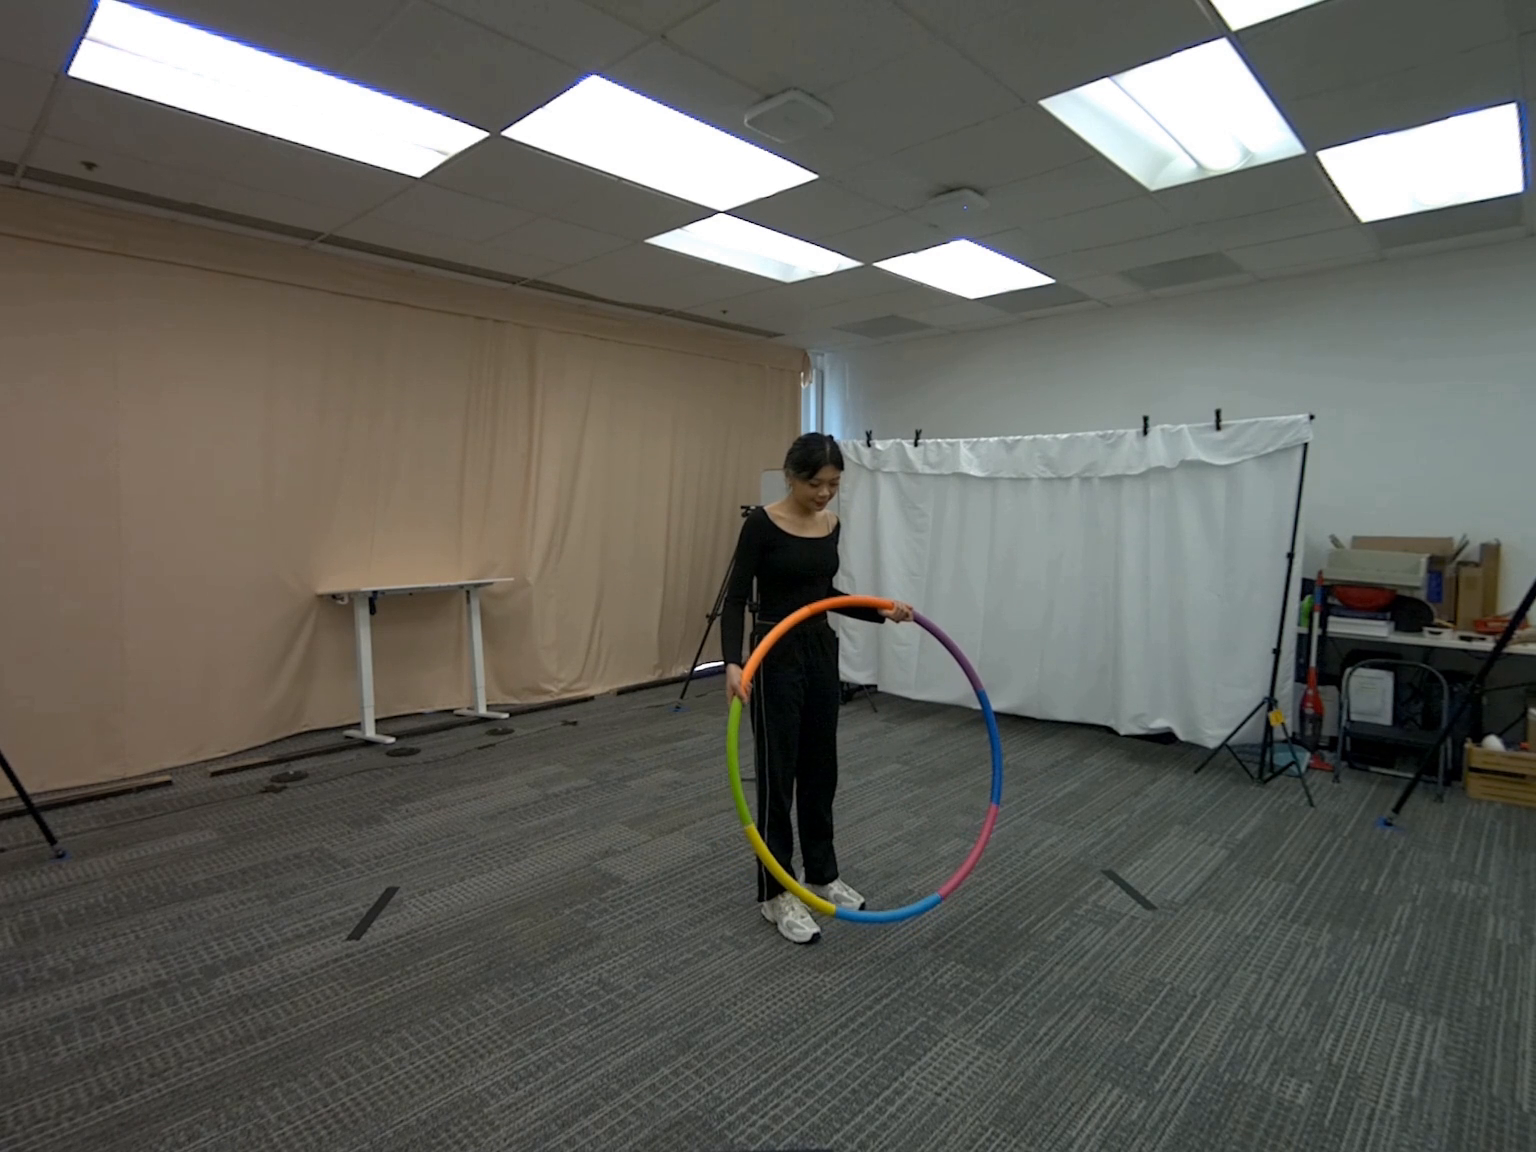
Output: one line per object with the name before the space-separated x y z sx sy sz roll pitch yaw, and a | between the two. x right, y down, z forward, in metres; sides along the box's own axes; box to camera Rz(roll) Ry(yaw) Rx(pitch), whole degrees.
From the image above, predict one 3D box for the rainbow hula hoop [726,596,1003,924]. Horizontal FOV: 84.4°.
rainbow hula hoop | 0.336 0.557 2.631 0.957 0.988 0.036 -2 -13 -22
